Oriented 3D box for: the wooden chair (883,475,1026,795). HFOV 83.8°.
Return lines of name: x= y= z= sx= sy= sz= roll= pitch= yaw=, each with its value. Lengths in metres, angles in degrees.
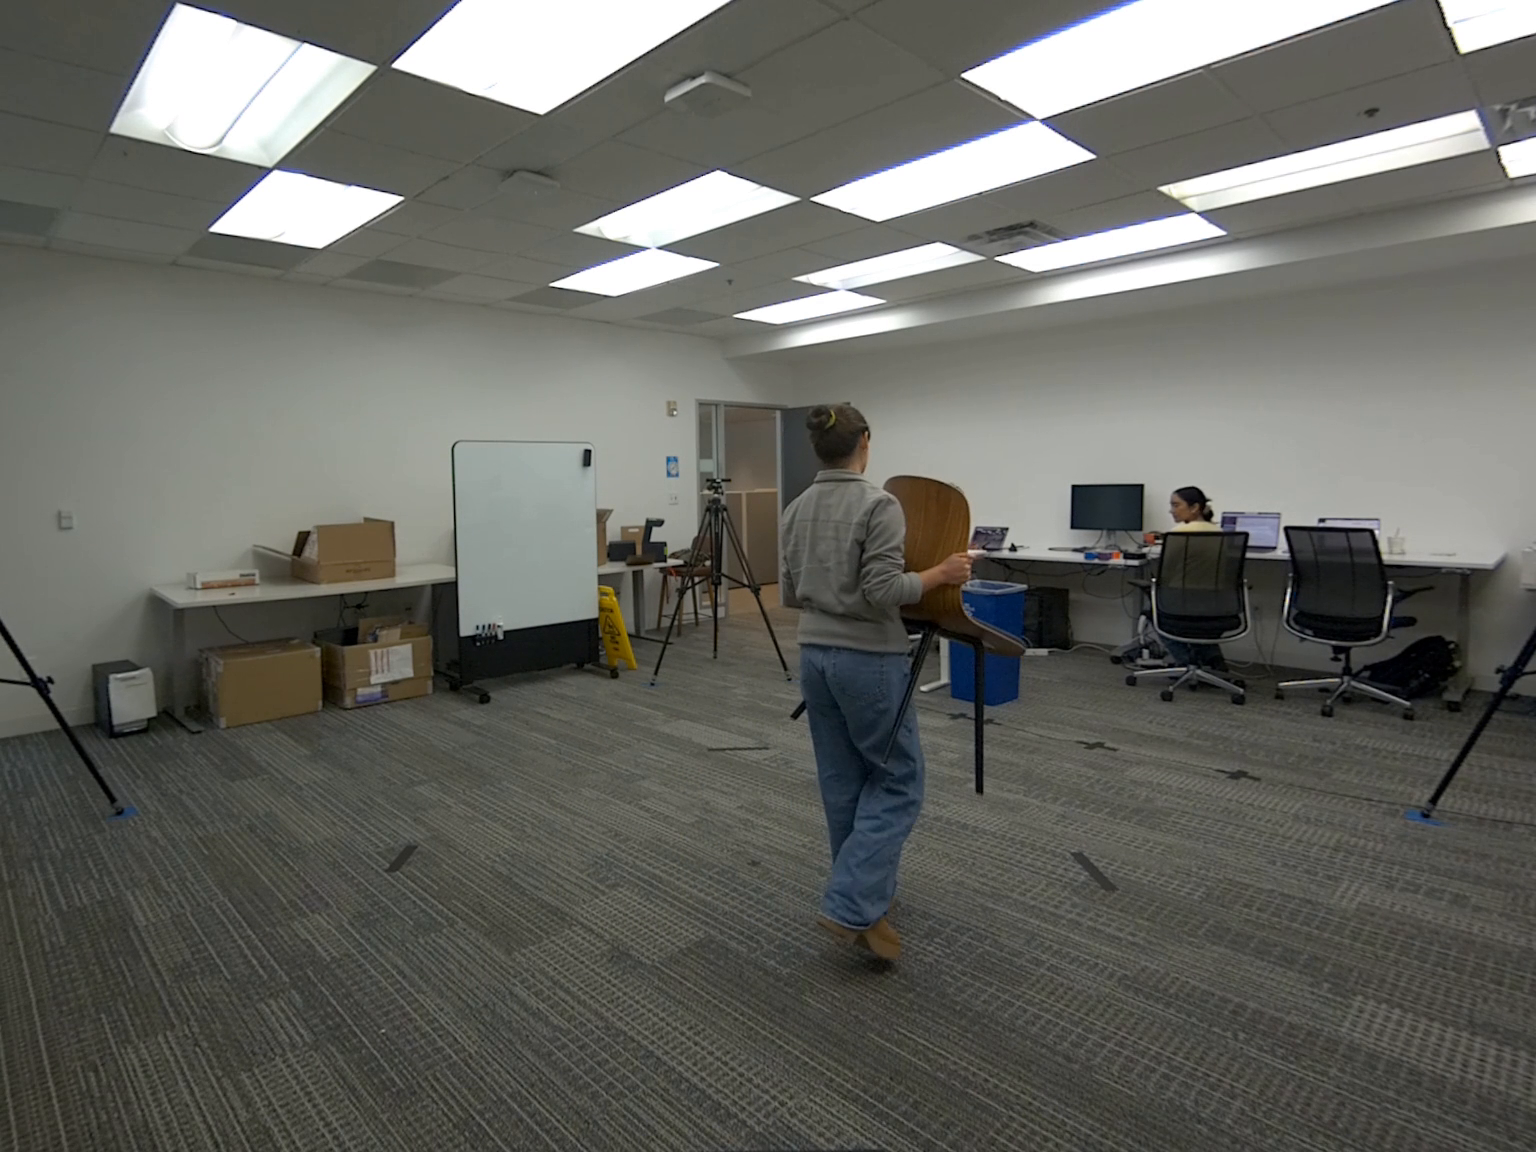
wooden chair: x=0.516 y=0.176 z=2.746 sx=0.506 sy=0.879 sz=0.493 roll=19 pitch=-4 yaw=-35
